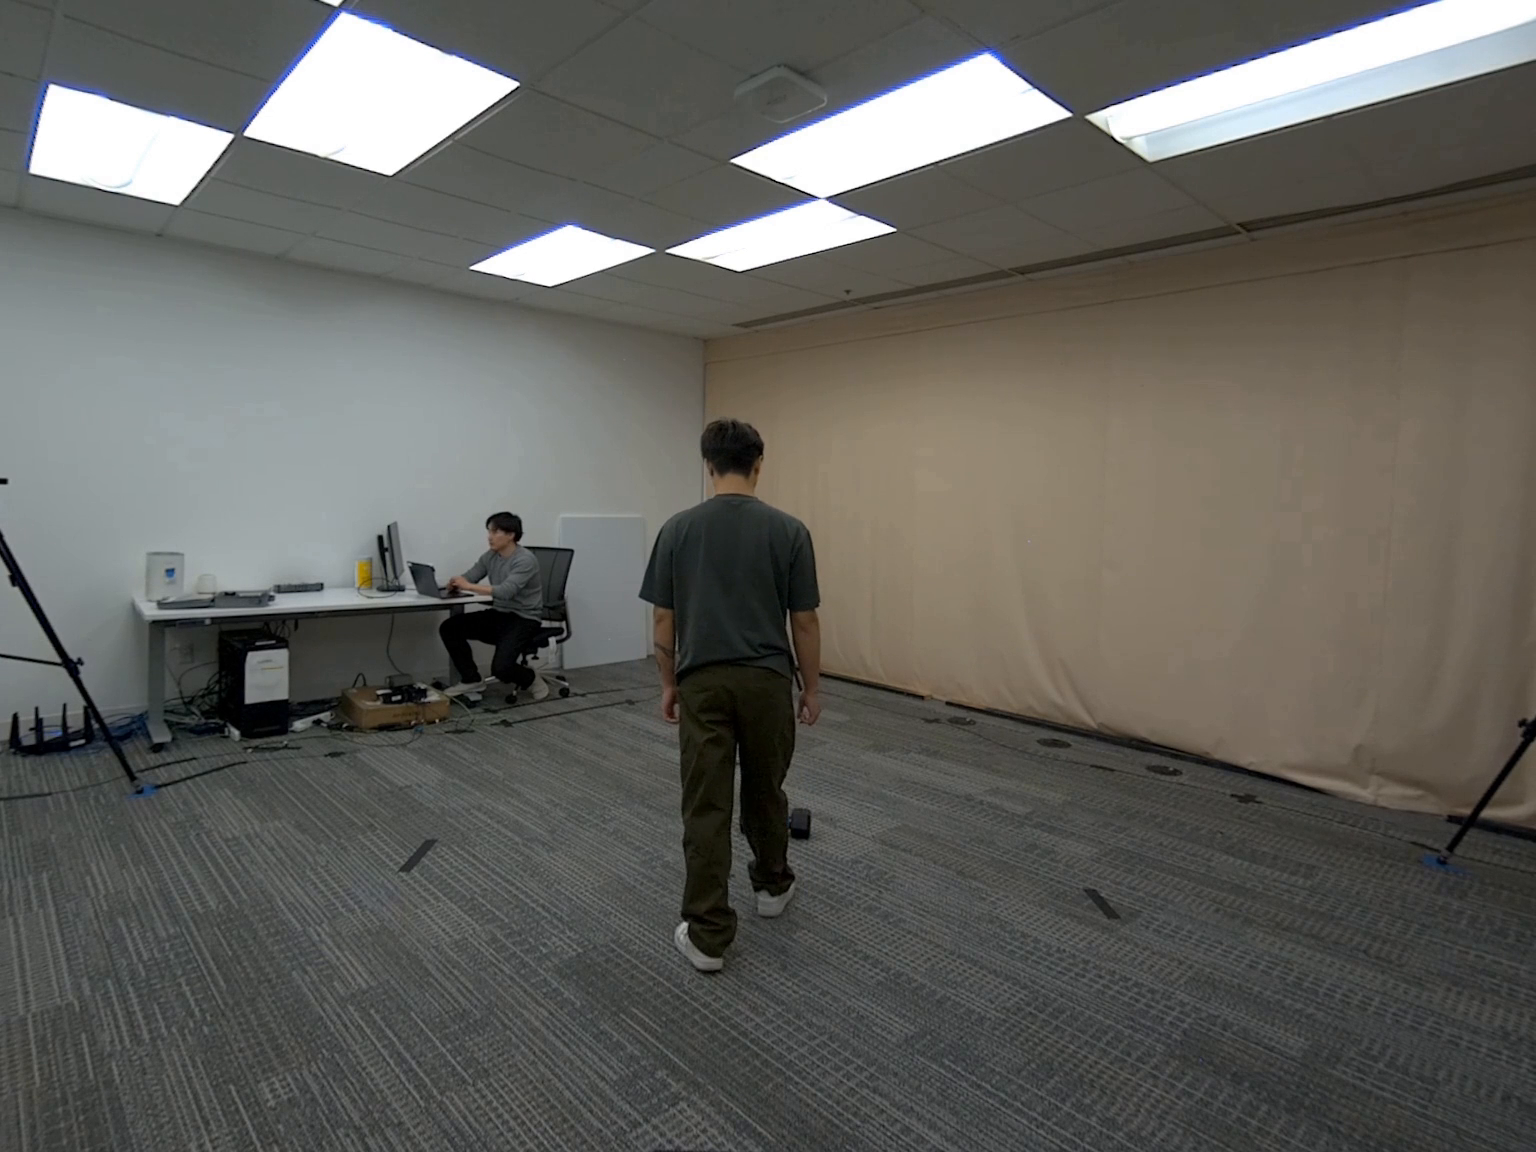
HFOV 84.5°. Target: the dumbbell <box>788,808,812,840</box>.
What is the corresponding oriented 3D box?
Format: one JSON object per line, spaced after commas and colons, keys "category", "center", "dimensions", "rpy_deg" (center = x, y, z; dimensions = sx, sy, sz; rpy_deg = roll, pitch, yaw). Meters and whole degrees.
{"category": "dumbbell", "center": [0.023, 1.026, 3.508], "dimensions": [0.296, 0.125, 0.106], "rpy_deg": [2, -26, 9]}
